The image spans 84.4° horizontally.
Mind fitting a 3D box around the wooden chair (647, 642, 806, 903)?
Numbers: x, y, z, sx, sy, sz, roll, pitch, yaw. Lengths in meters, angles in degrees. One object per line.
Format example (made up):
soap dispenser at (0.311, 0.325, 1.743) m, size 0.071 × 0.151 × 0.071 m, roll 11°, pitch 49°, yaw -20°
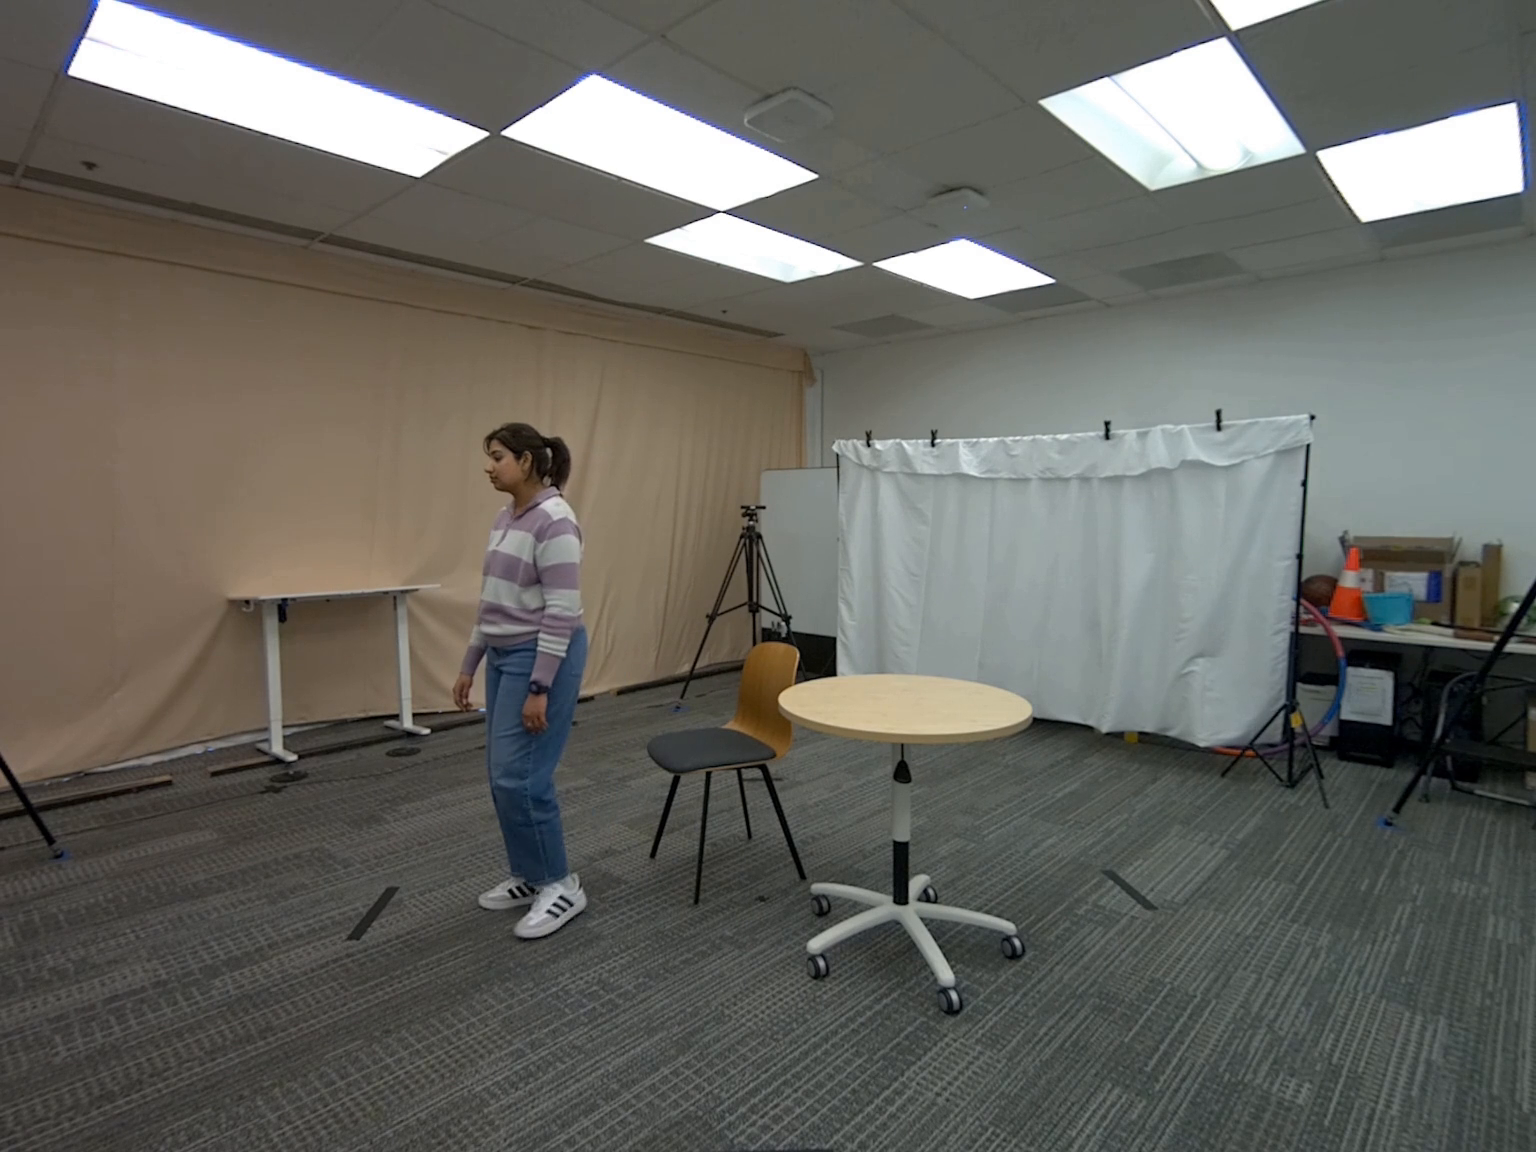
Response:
wooden chair at (-0.169, 0.699, 3.205) m, size 0.509 × 0.876 × 0.491 m, roll 2°, pitch 2°, yaw -28°
